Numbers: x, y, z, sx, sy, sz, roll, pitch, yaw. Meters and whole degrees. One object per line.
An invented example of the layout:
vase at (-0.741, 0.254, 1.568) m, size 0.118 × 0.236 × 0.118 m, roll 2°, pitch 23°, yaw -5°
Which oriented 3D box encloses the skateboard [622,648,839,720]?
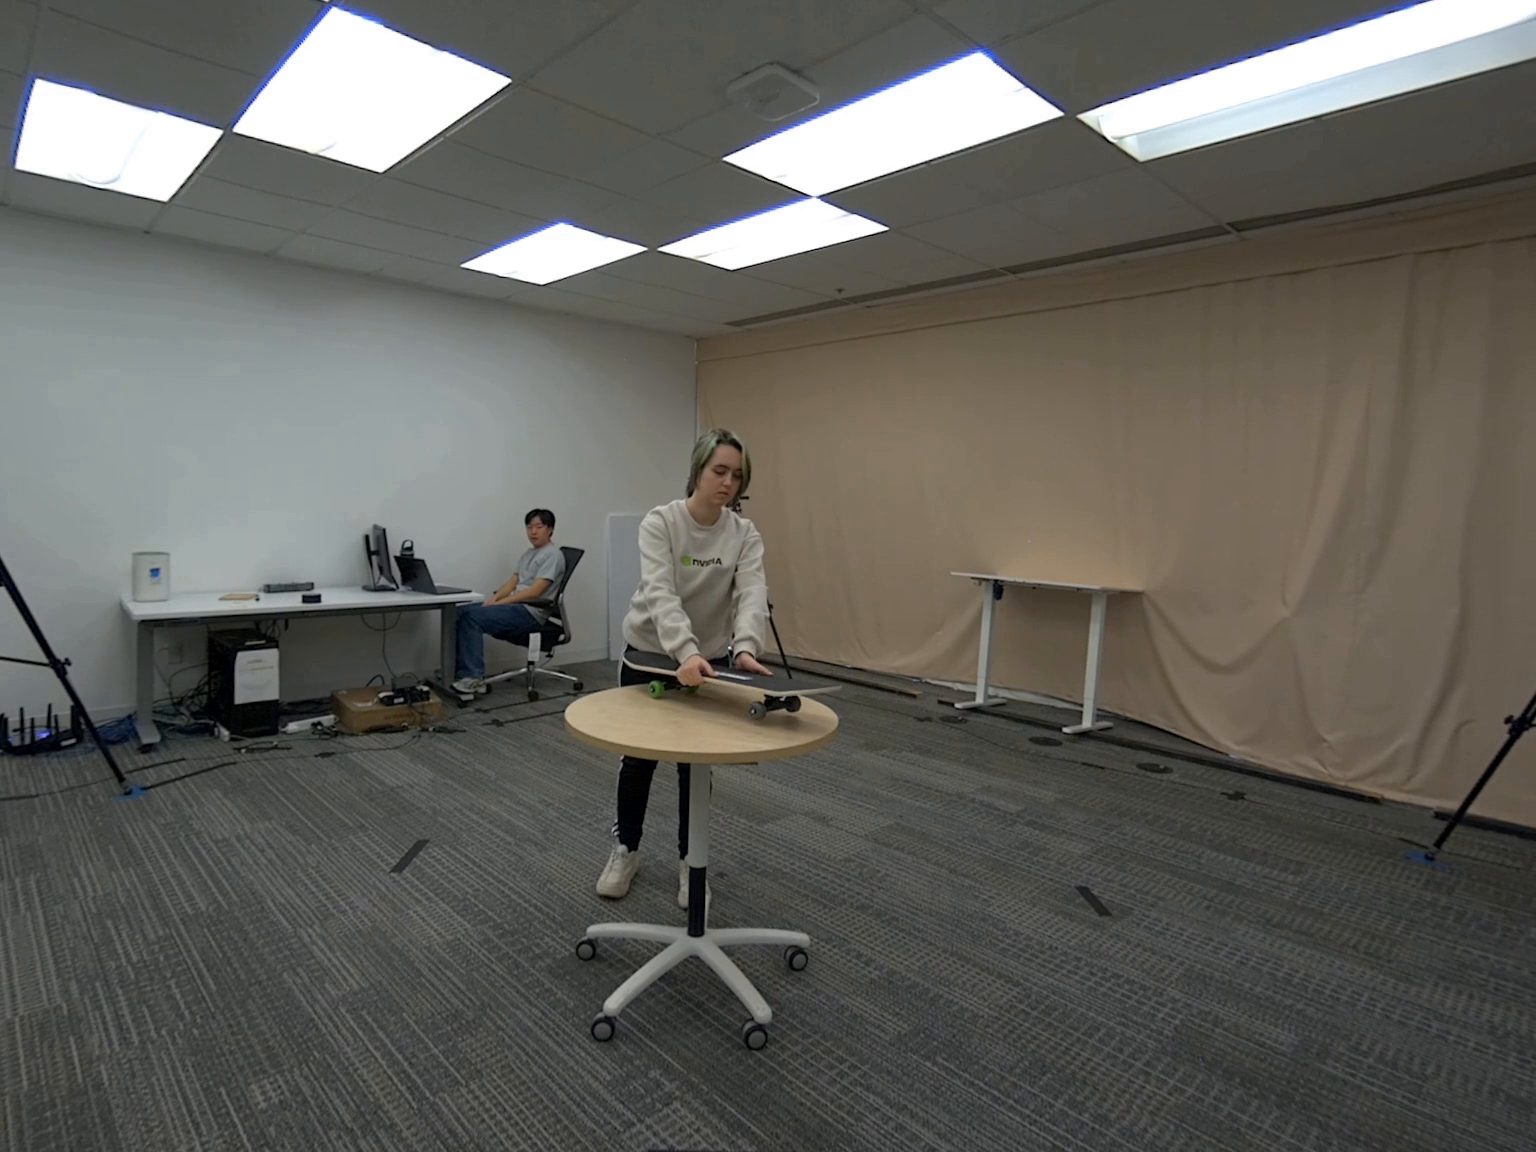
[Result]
skateboard at (-0.143, 0.326, 2.440) m, size 0.805 × 0.110 × 0.189 m, roll 4°, pitch 2°, yaw 41°
